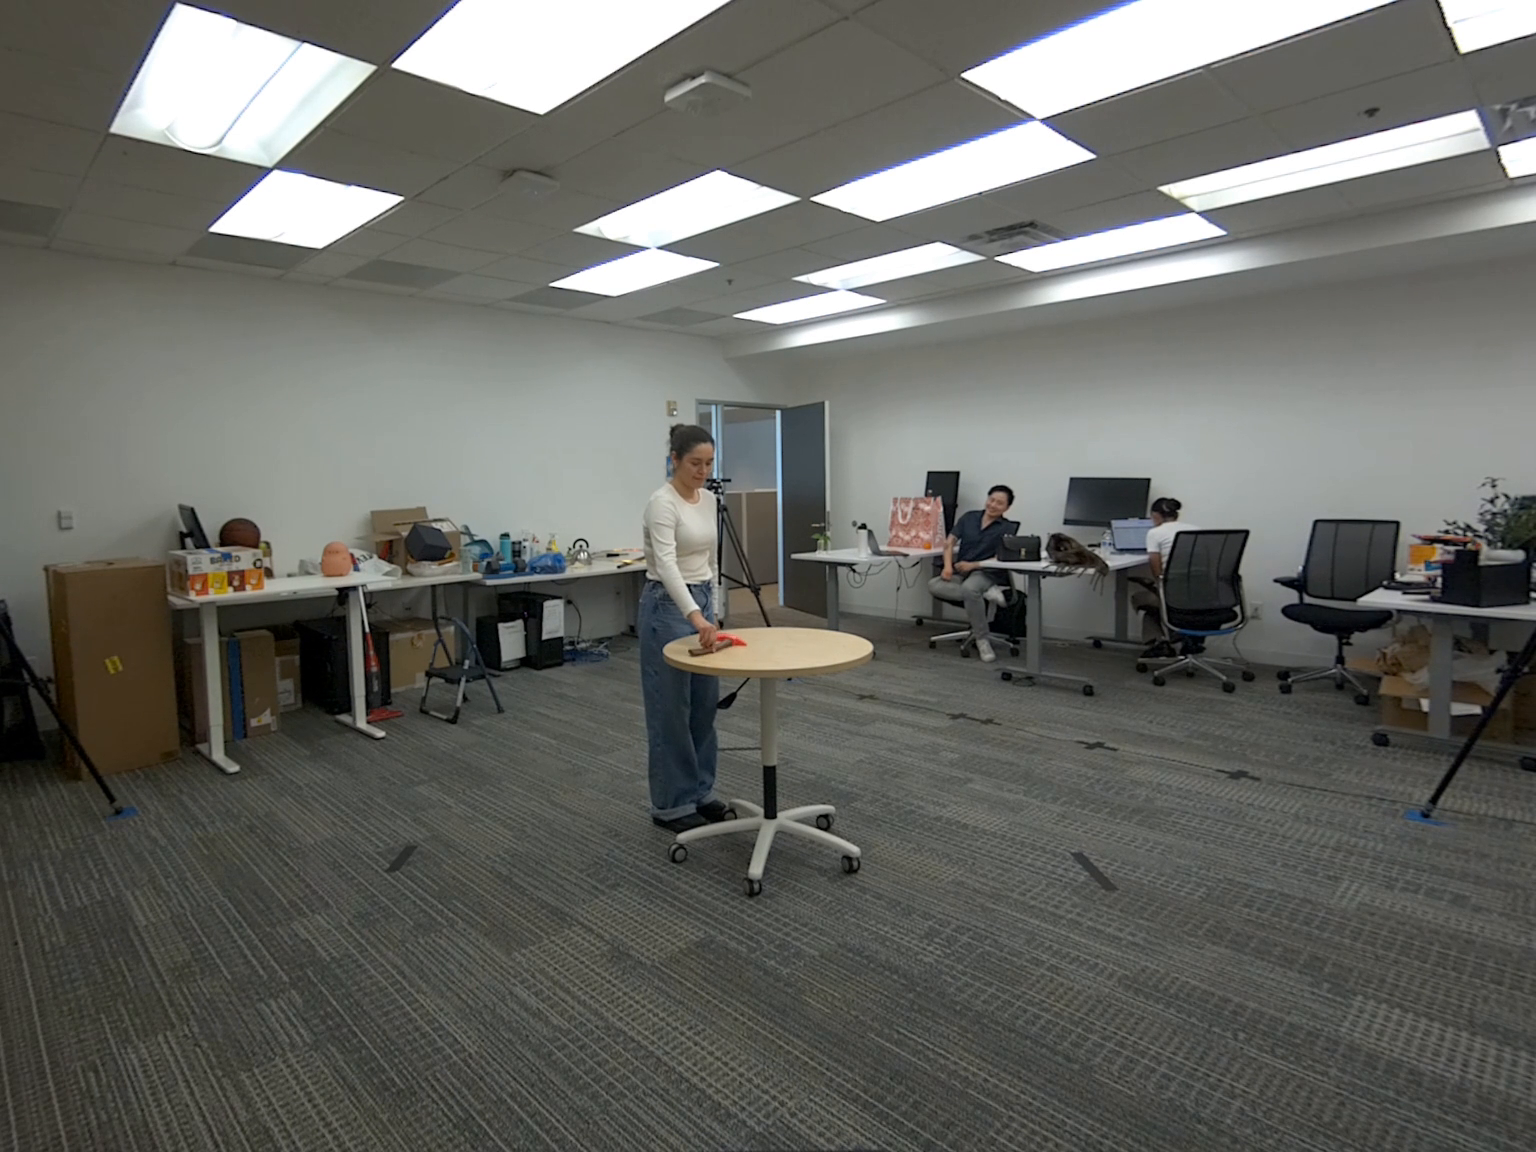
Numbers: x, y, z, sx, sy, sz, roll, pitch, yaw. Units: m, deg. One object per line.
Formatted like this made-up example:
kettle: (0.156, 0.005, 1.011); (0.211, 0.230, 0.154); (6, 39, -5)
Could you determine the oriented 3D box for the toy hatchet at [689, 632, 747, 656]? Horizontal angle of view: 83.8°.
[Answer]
toy hatchet: (-0.198, 0.249, 3.094); (0.136, 0.029, 0.263); (22, 19, 37)
